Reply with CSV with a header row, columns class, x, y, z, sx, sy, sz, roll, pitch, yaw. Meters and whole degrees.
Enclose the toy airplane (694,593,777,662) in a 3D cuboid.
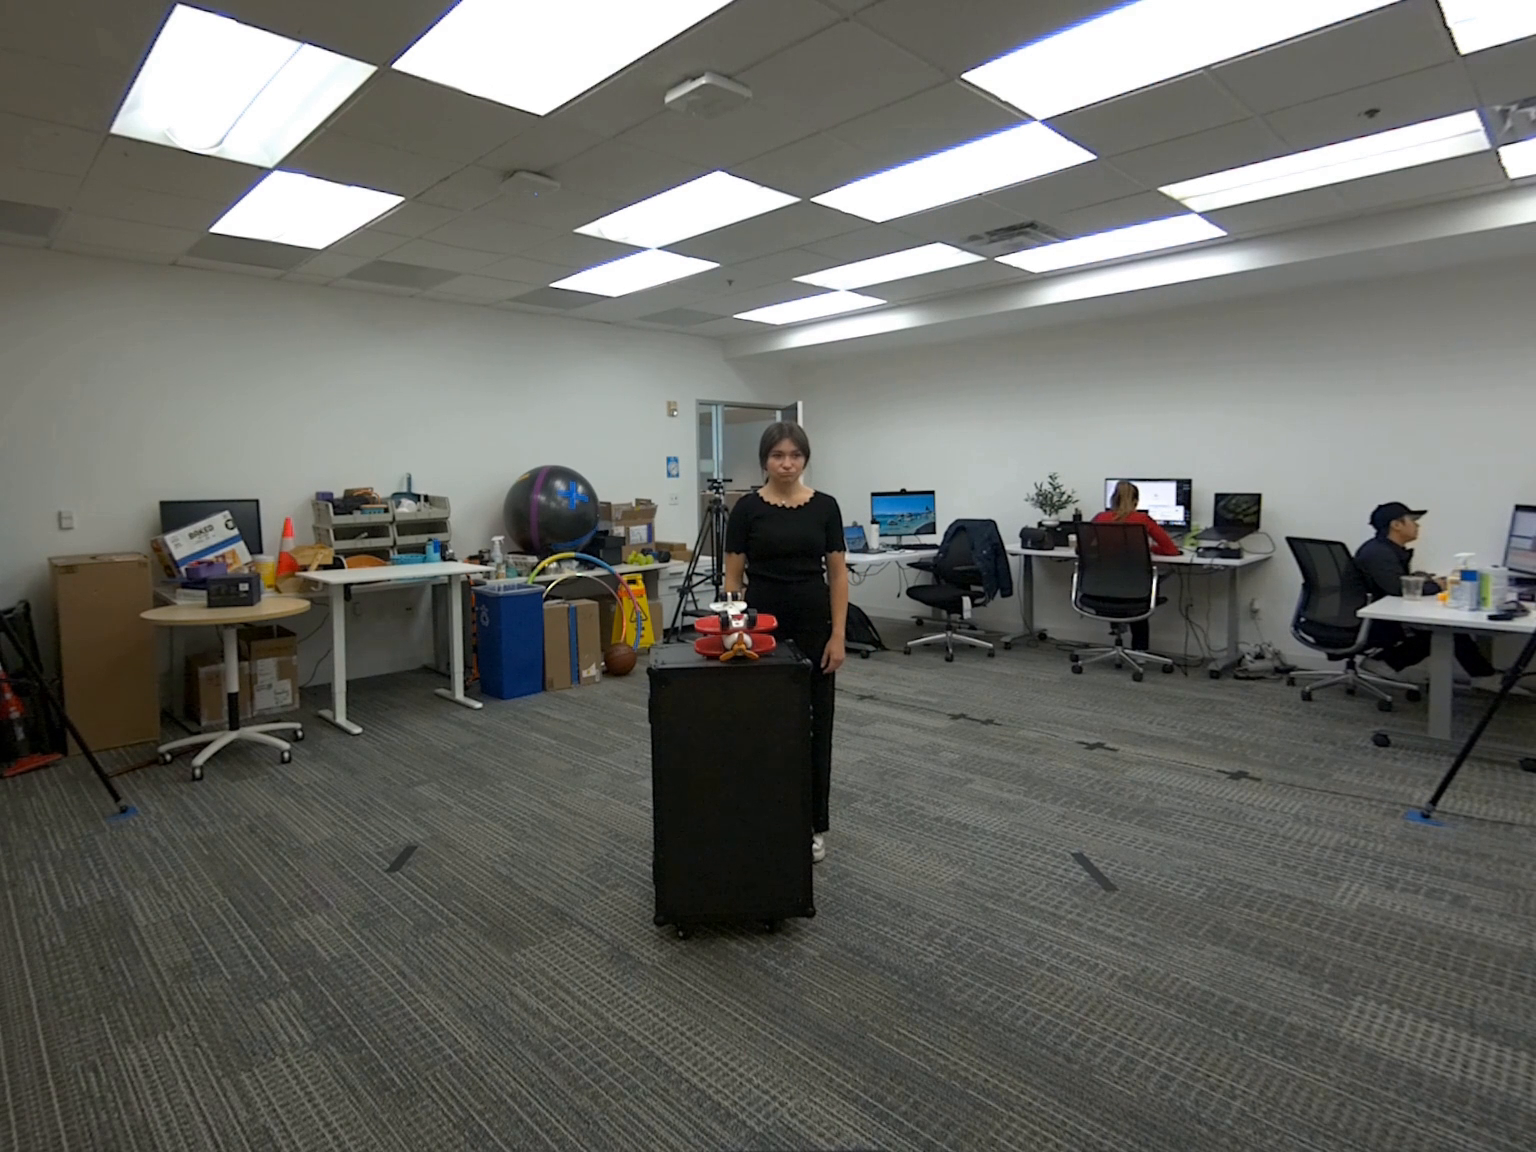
class,x,y,z,sx,sy,sz,roll,pitch,yaw
toy airplane,-0.084,0.152,2.668,0.256,0.154,0.258,5,16,17
